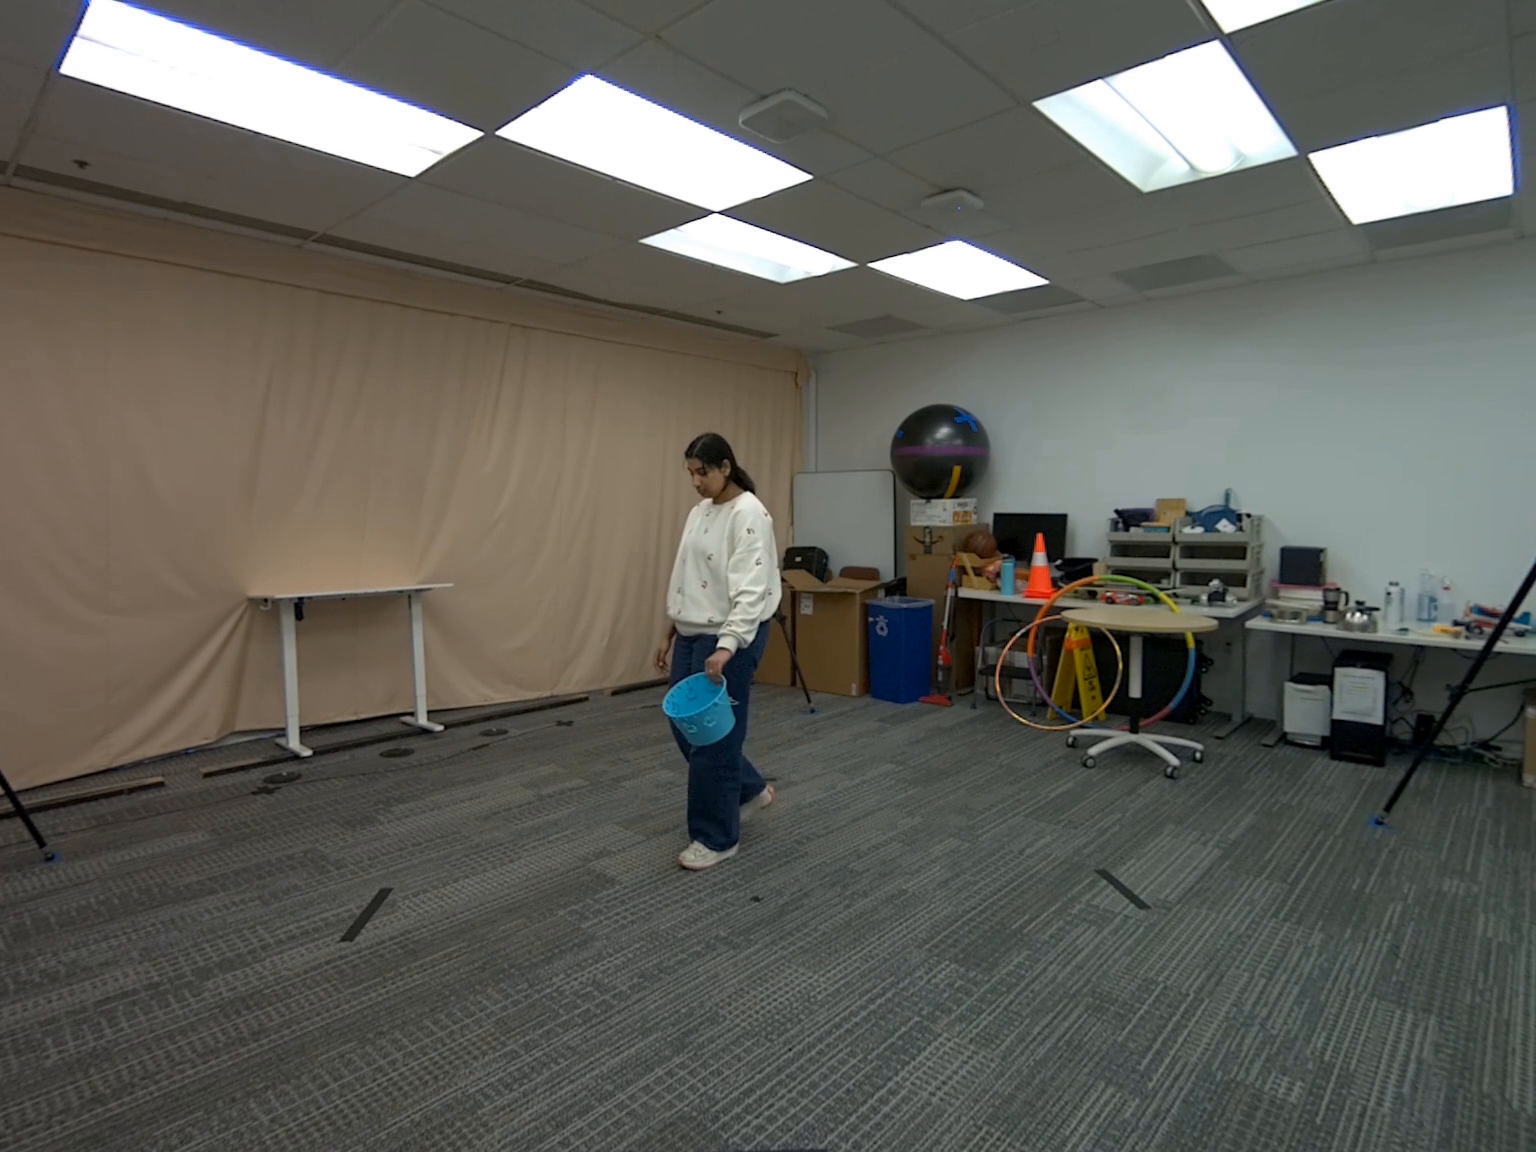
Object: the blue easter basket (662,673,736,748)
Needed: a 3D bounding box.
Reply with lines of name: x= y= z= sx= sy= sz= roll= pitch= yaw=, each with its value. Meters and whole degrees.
blue easter basket: x=-0.209 y=0.456 z=2.912 sx=0.245 sy=0.152 sz=0.247 roll=-20 pitch=26 yaw=8
